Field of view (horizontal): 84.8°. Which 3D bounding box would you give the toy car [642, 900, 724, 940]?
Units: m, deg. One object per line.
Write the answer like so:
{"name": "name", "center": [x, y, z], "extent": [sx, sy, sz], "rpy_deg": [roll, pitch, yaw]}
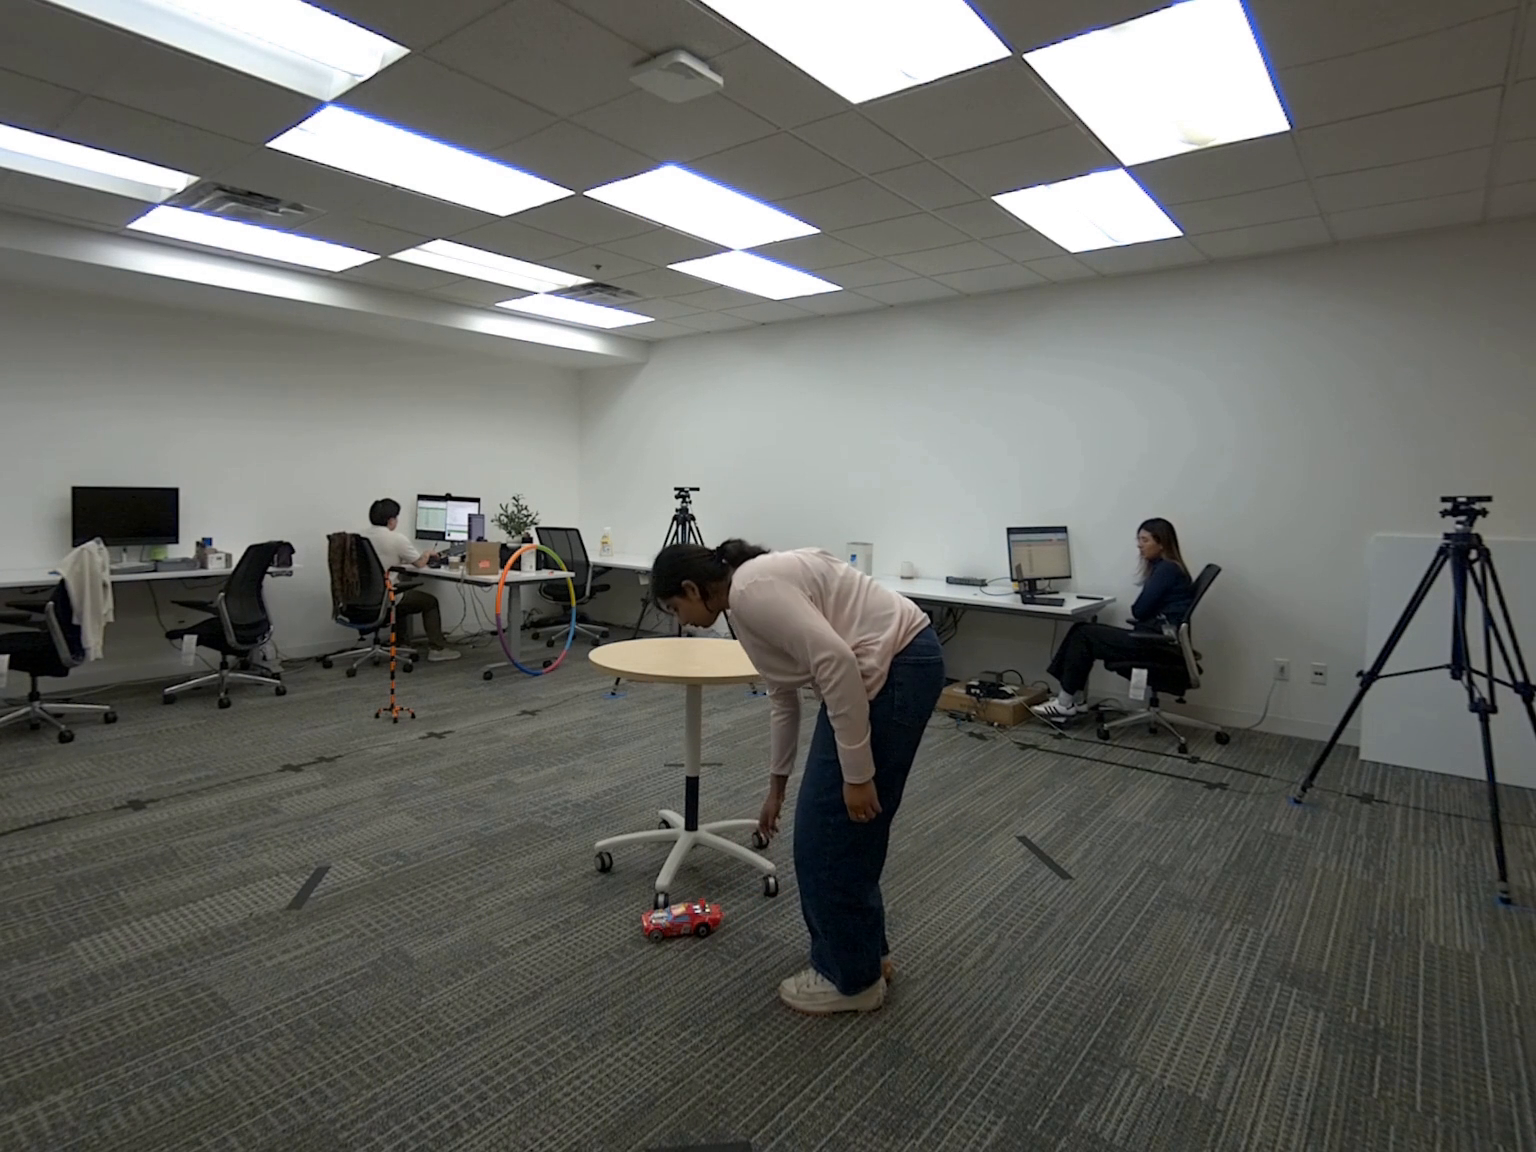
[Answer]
{"name": "toy car", "center": [-0.268, 1.074, 2.666], "extent": [0.252, 0.082, 0.133], "rpy_deg": [-12, 9, -14]}
